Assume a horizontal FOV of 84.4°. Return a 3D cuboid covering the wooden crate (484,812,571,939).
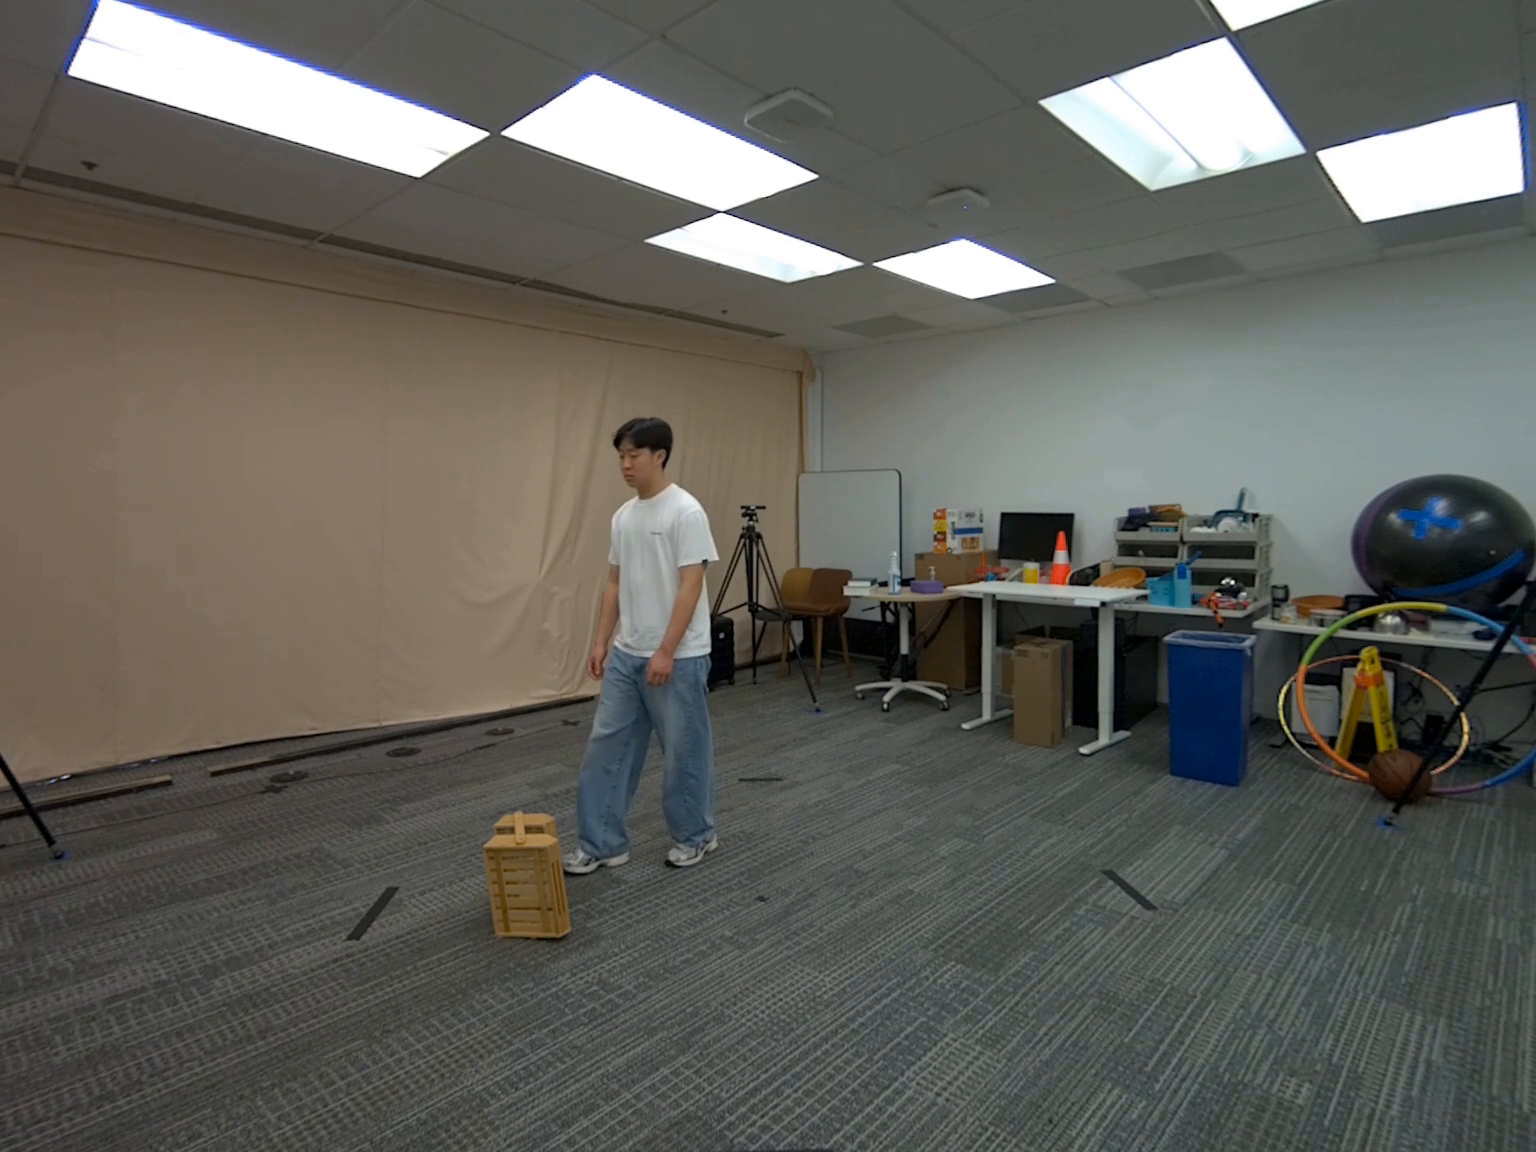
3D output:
[{"bbox_3d":[-0.785,0.996,2.832,0.306,0.323,0.270,-5,6,14],"label":"wooden crate"}]
